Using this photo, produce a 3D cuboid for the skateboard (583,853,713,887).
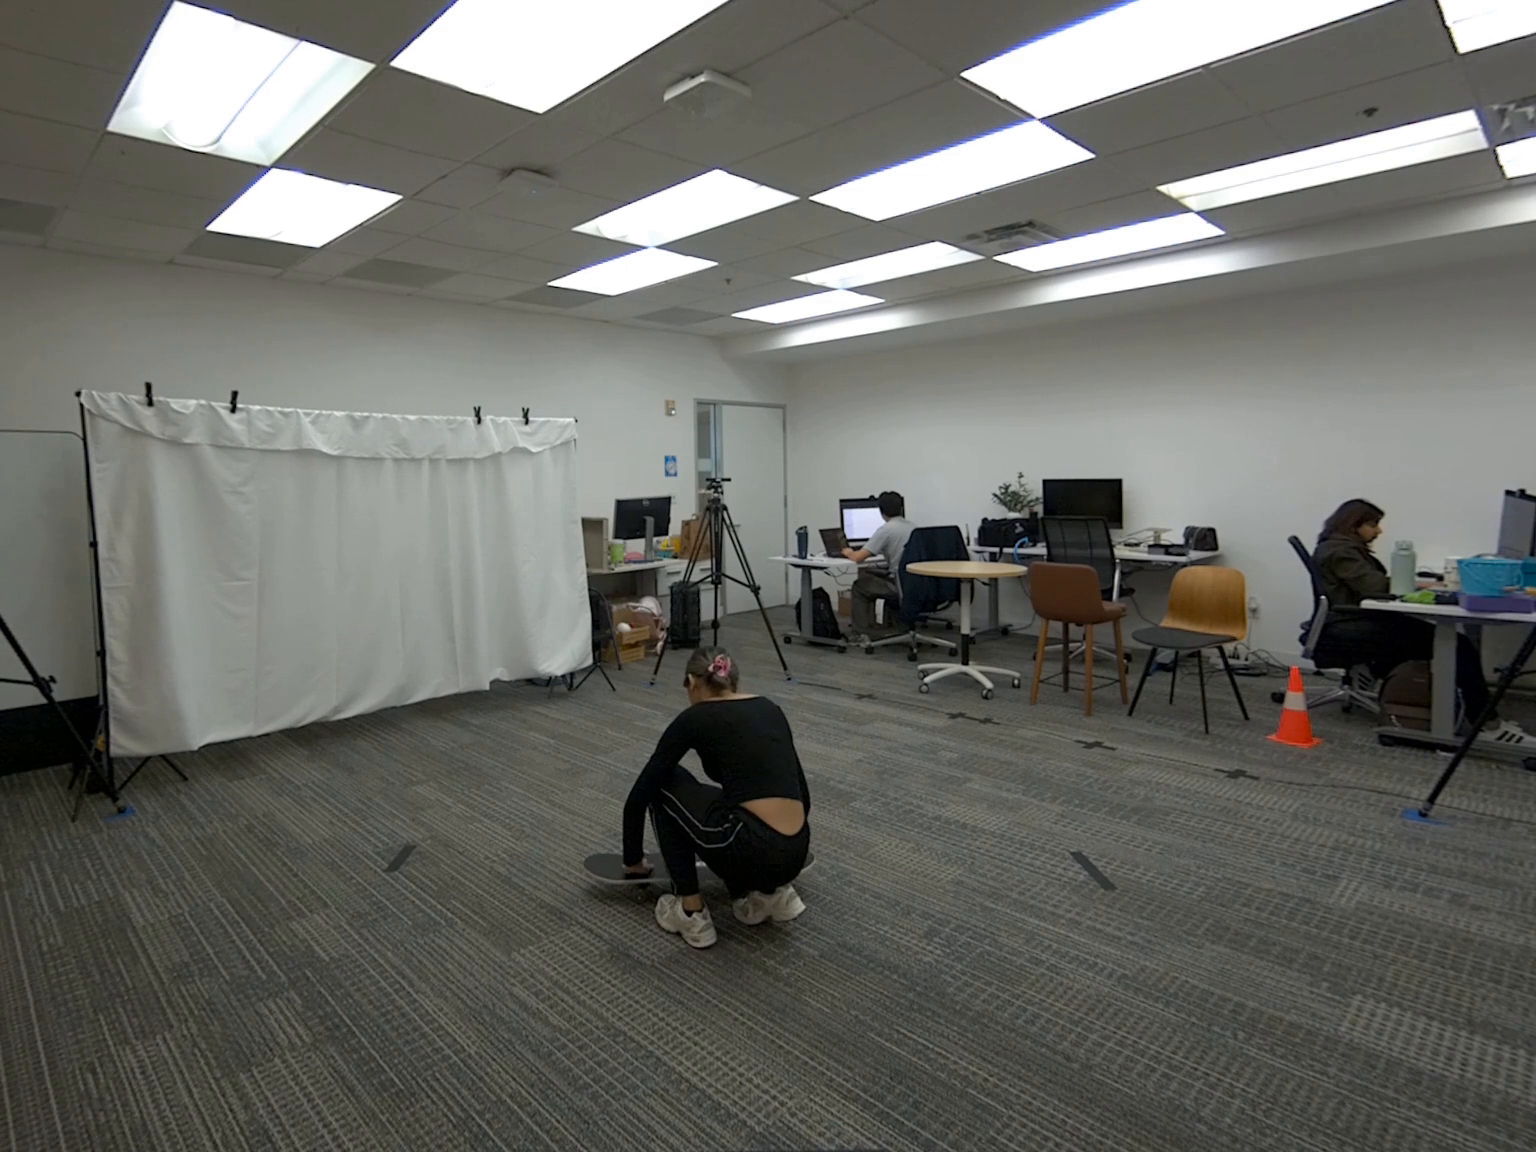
[{"bbox_3d":[-0.230,1.007,2.905,0.785,0.110,0.194,0,6,-1],"label":"skateboard"}]
